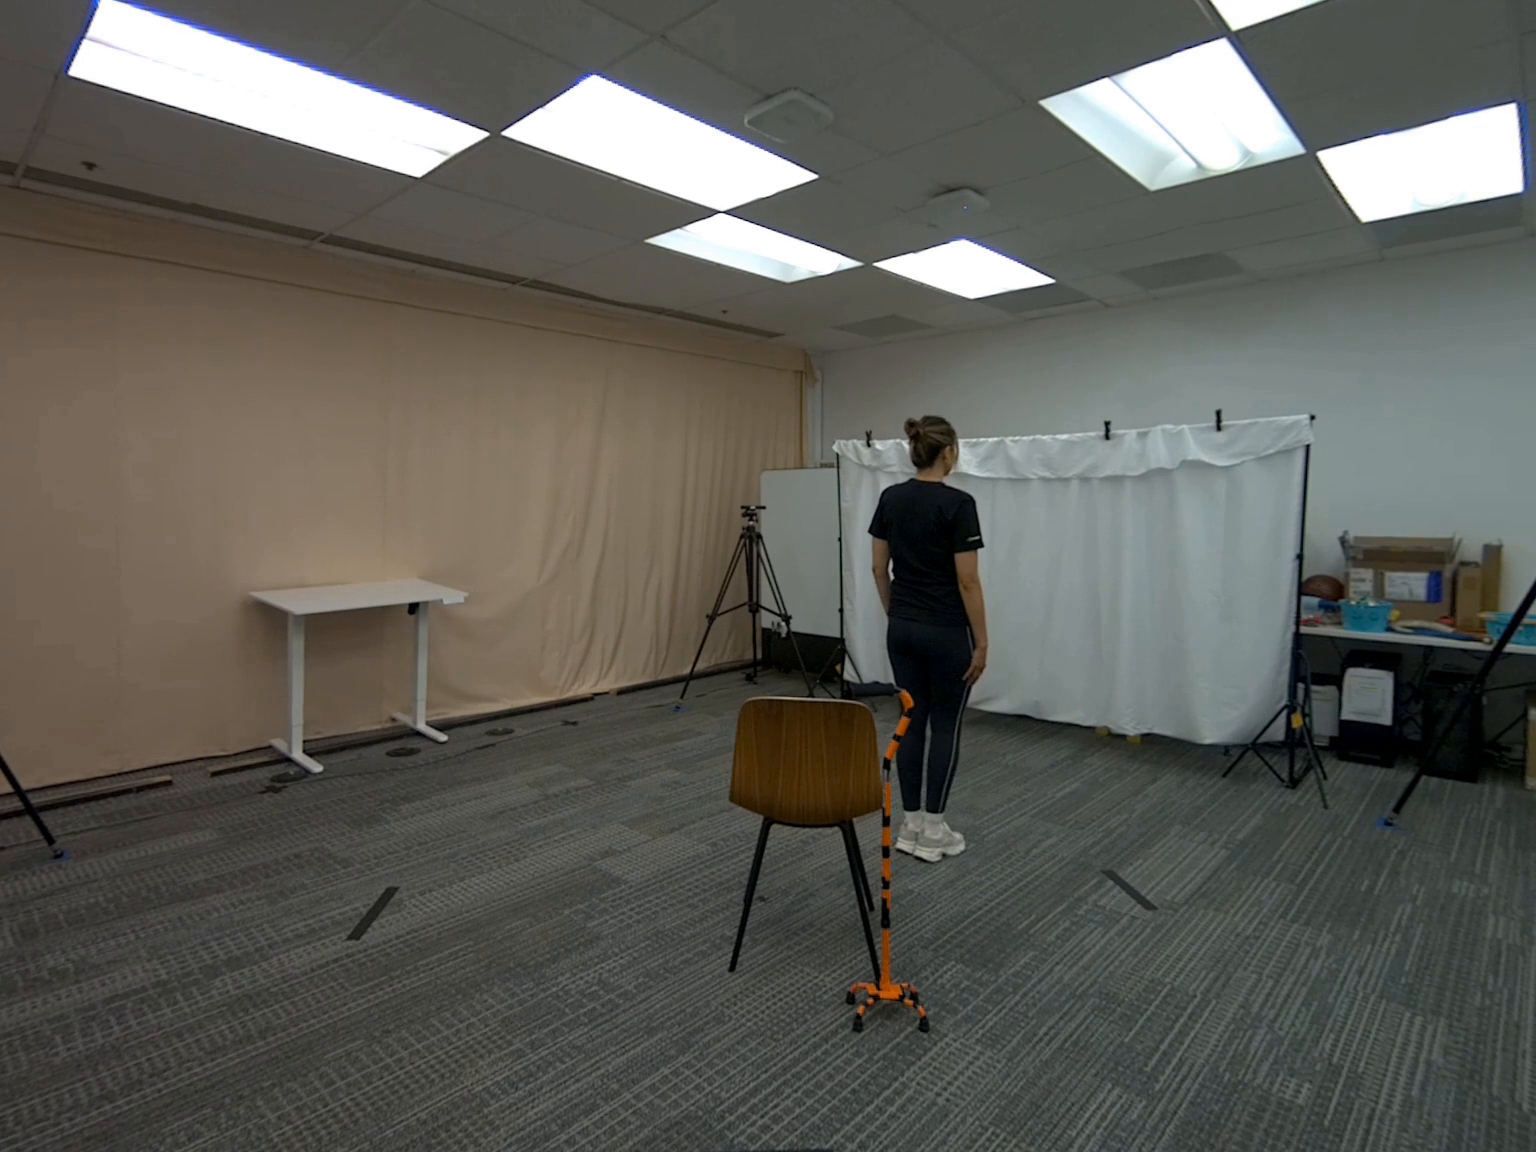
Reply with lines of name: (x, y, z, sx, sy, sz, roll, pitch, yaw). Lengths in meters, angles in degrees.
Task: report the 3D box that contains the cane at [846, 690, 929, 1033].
cane: (0.331, 0.749, 2.277, 0.206, 0.906, 0.152, 1, 3, -1)
